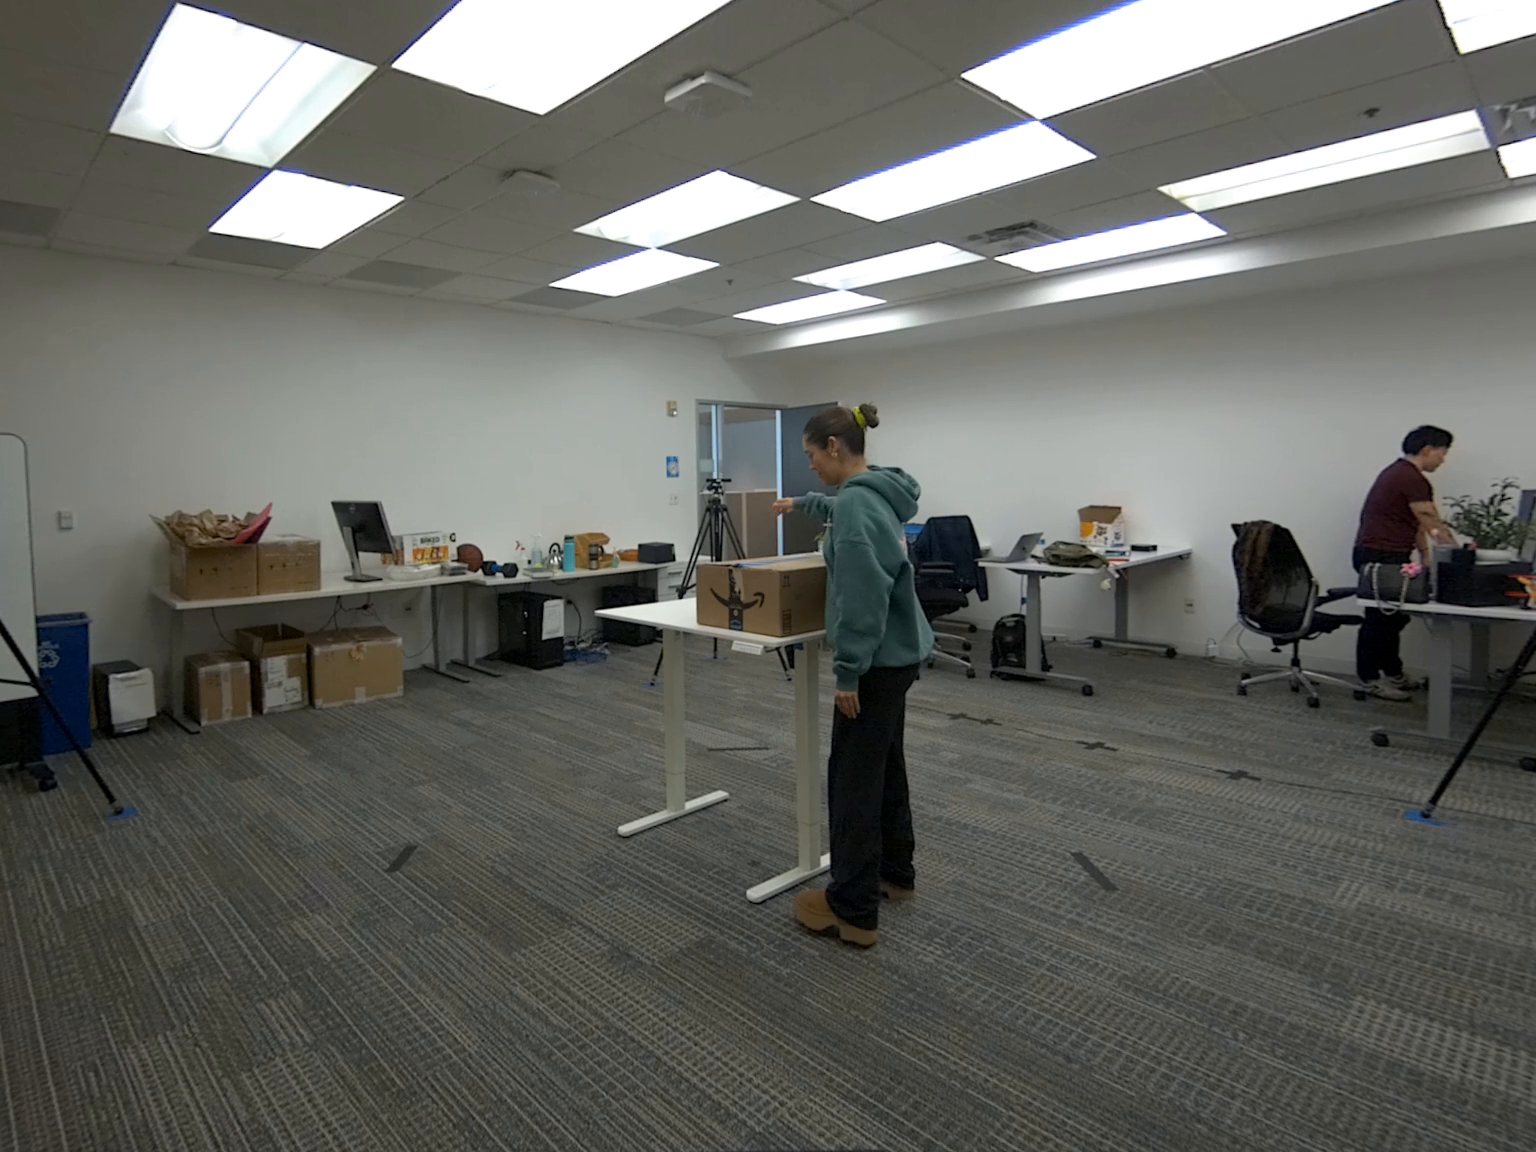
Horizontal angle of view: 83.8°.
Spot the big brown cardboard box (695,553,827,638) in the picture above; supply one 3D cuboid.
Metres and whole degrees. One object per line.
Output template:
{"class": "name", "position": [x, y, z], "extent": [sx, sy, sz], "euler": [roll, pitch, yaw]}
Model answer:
{"class": "big brown cardboard box", "position": [0.094, 0.054, 3.074], "extent": [0.574, 0.232, 0.430], "euler": [-8, 8, -44]}
